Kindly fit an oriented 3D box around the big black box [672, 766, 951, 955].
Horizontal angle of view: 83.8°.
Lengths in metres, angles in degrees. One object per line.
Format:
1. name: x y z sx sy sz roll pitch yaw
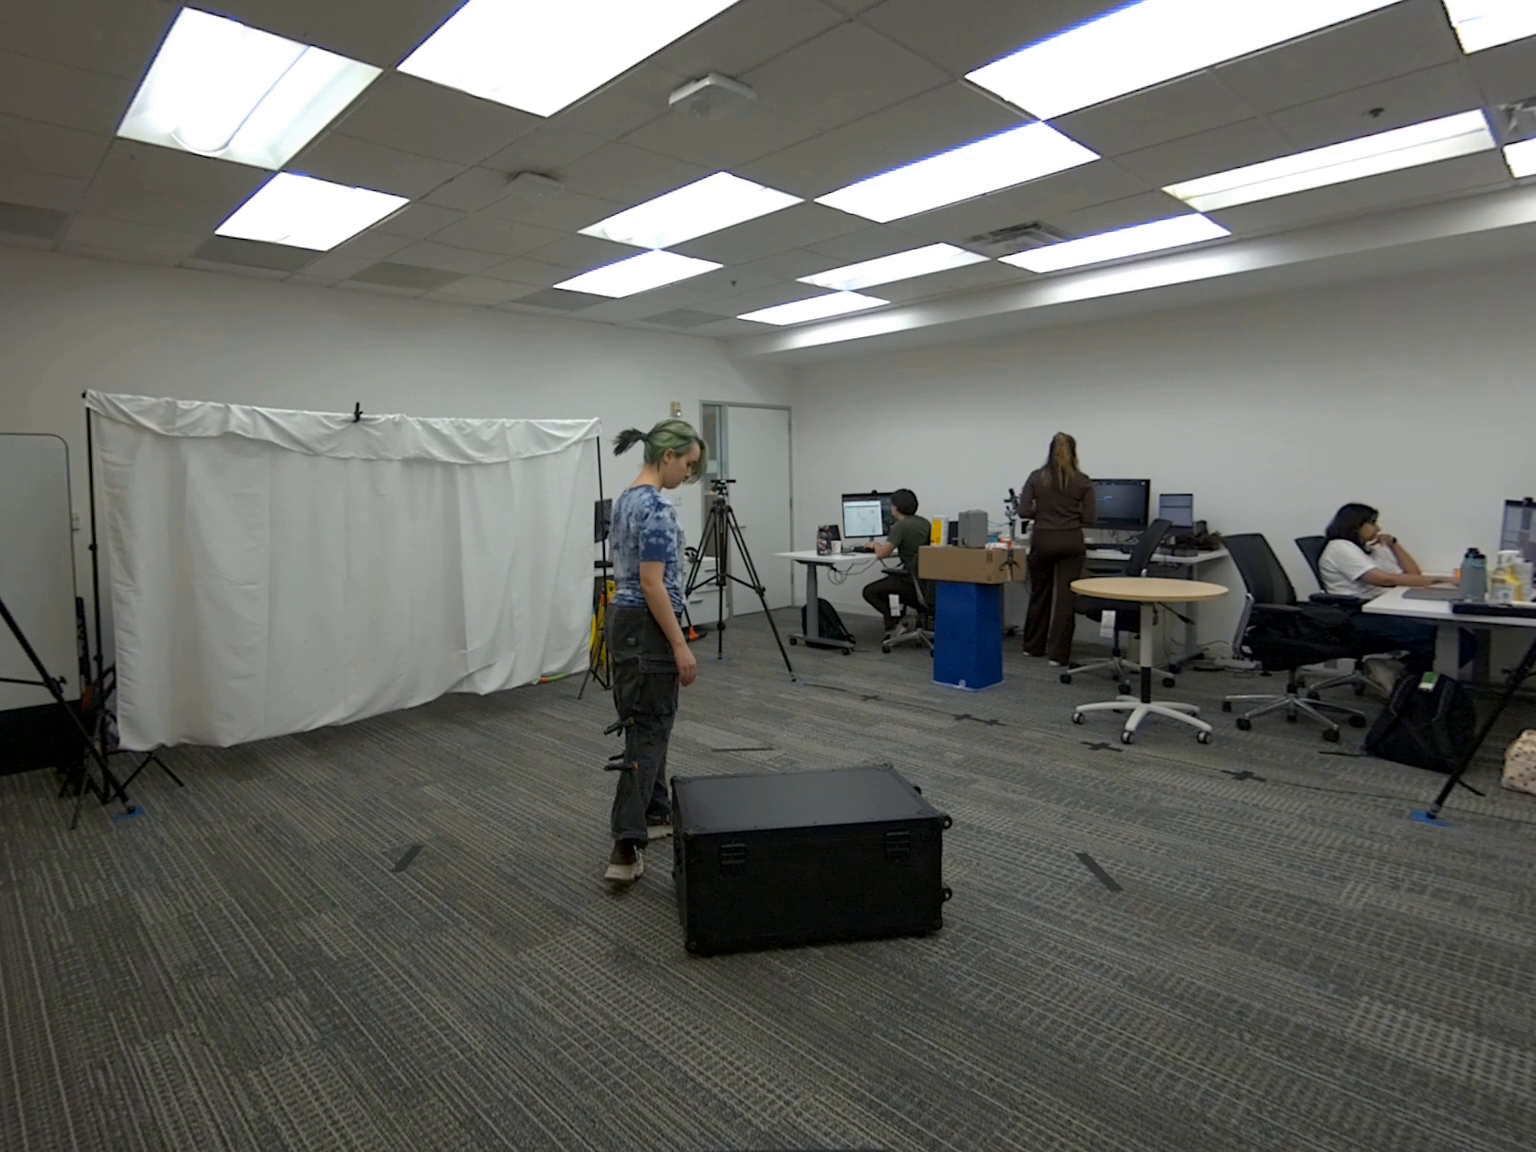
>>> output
1. big black box: 0.071 0.893 2.756 0.854 0.395 0.527 -2 5 -9
